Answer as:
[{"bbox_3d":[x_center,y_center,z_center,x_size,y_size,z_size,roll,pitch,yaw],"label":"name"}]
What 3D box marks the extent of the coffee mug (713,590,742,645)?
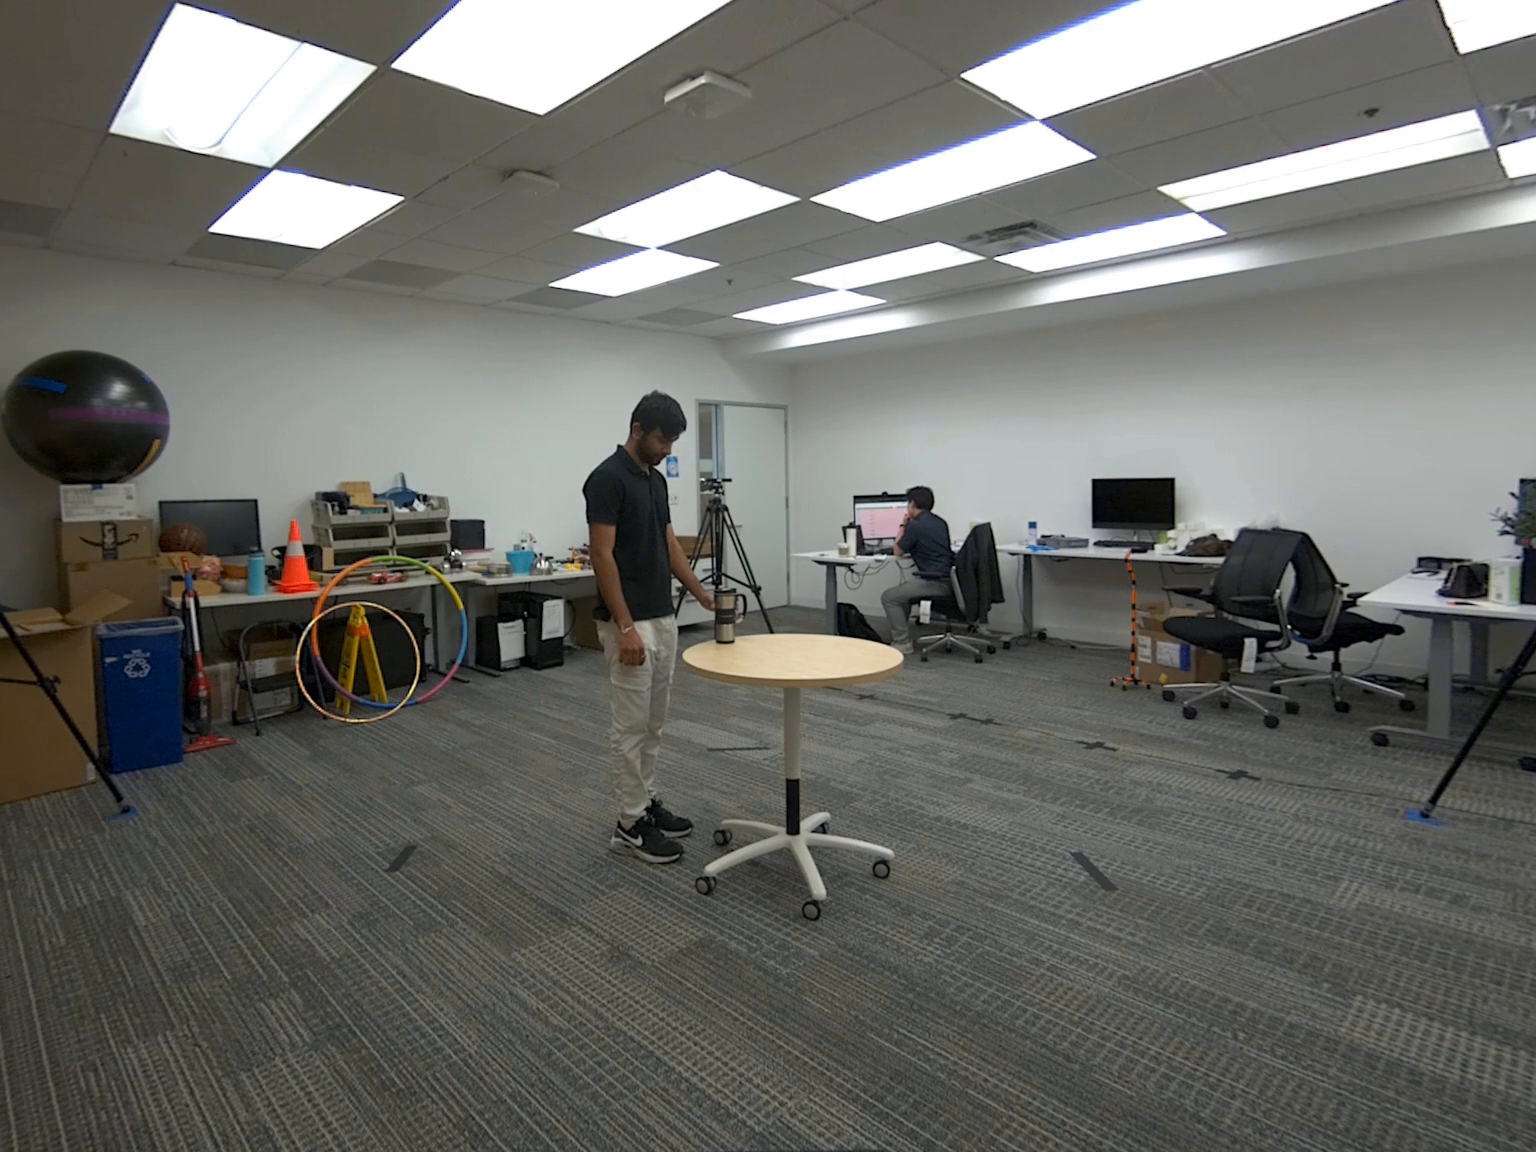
[{"bbox_3d":[-0.143,0.150,3.199,0.124,0.203,0.086,-2,1,16],"label":"coffee mug"}]
